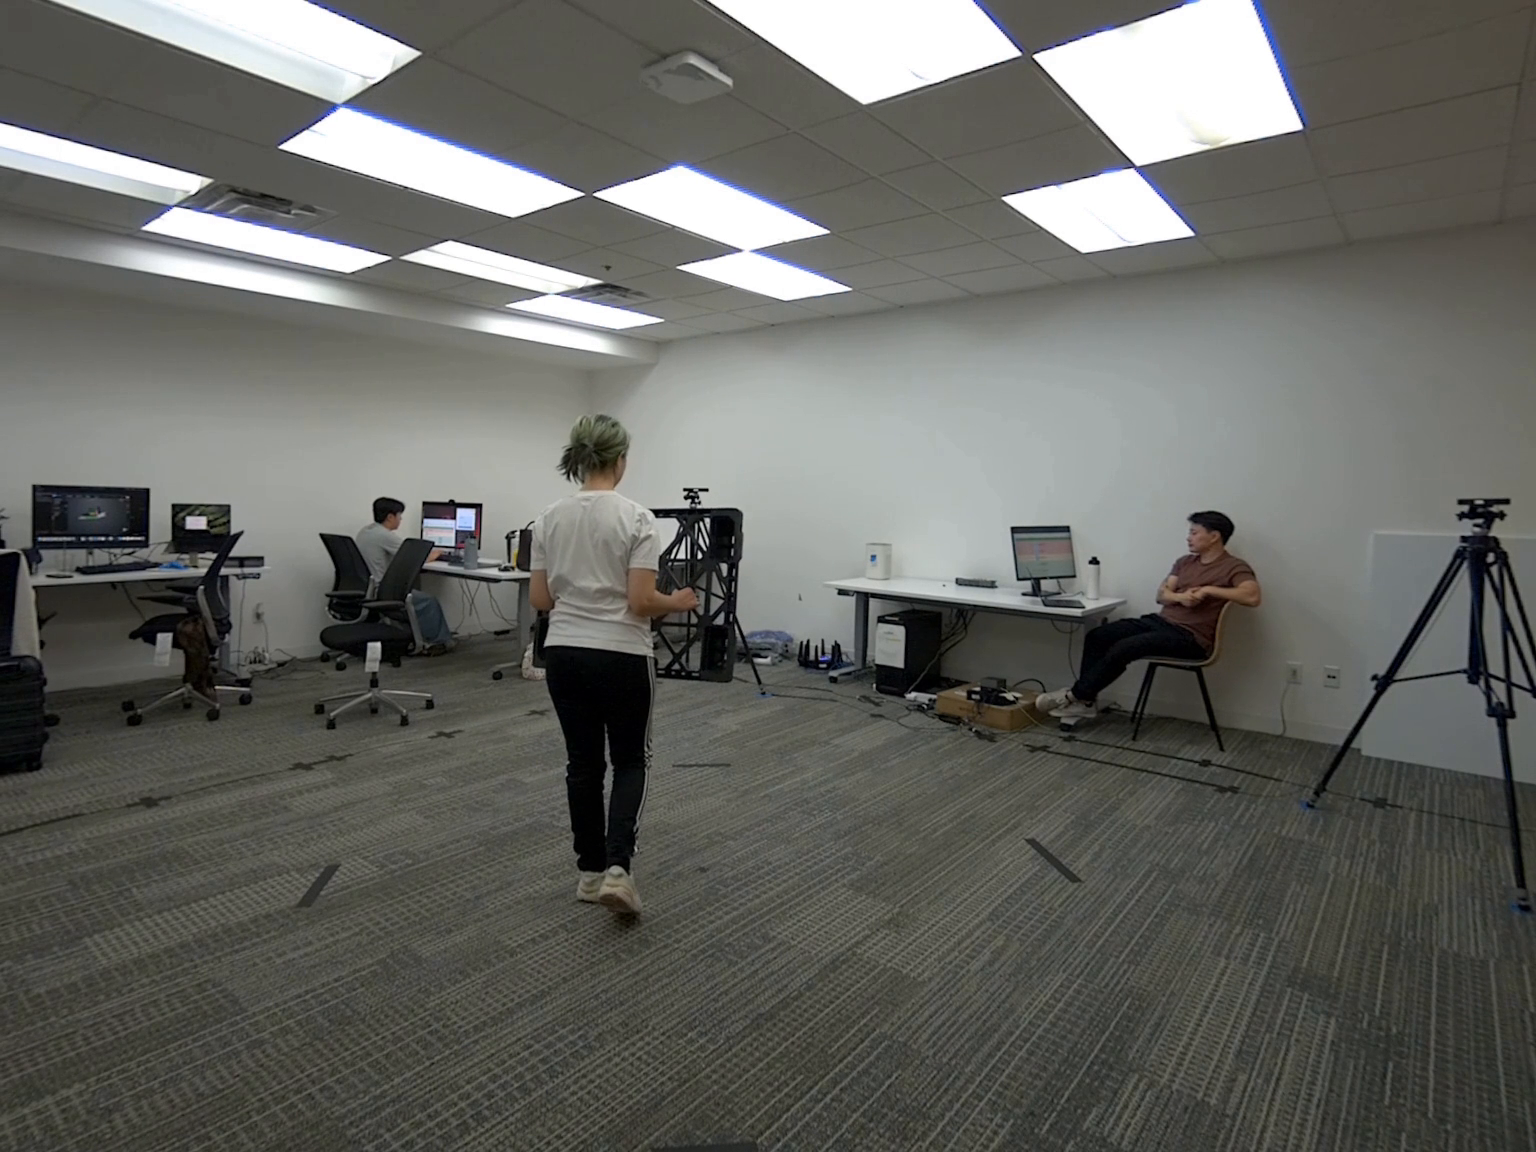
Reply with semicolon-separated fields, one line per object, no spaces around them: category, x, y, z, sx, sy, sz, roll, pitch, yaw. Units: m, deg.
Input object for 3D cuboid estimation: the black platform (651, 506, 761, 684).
black platform;-0.474;0.061;3.096;0.824;0.609;0.139;1;-7;23
